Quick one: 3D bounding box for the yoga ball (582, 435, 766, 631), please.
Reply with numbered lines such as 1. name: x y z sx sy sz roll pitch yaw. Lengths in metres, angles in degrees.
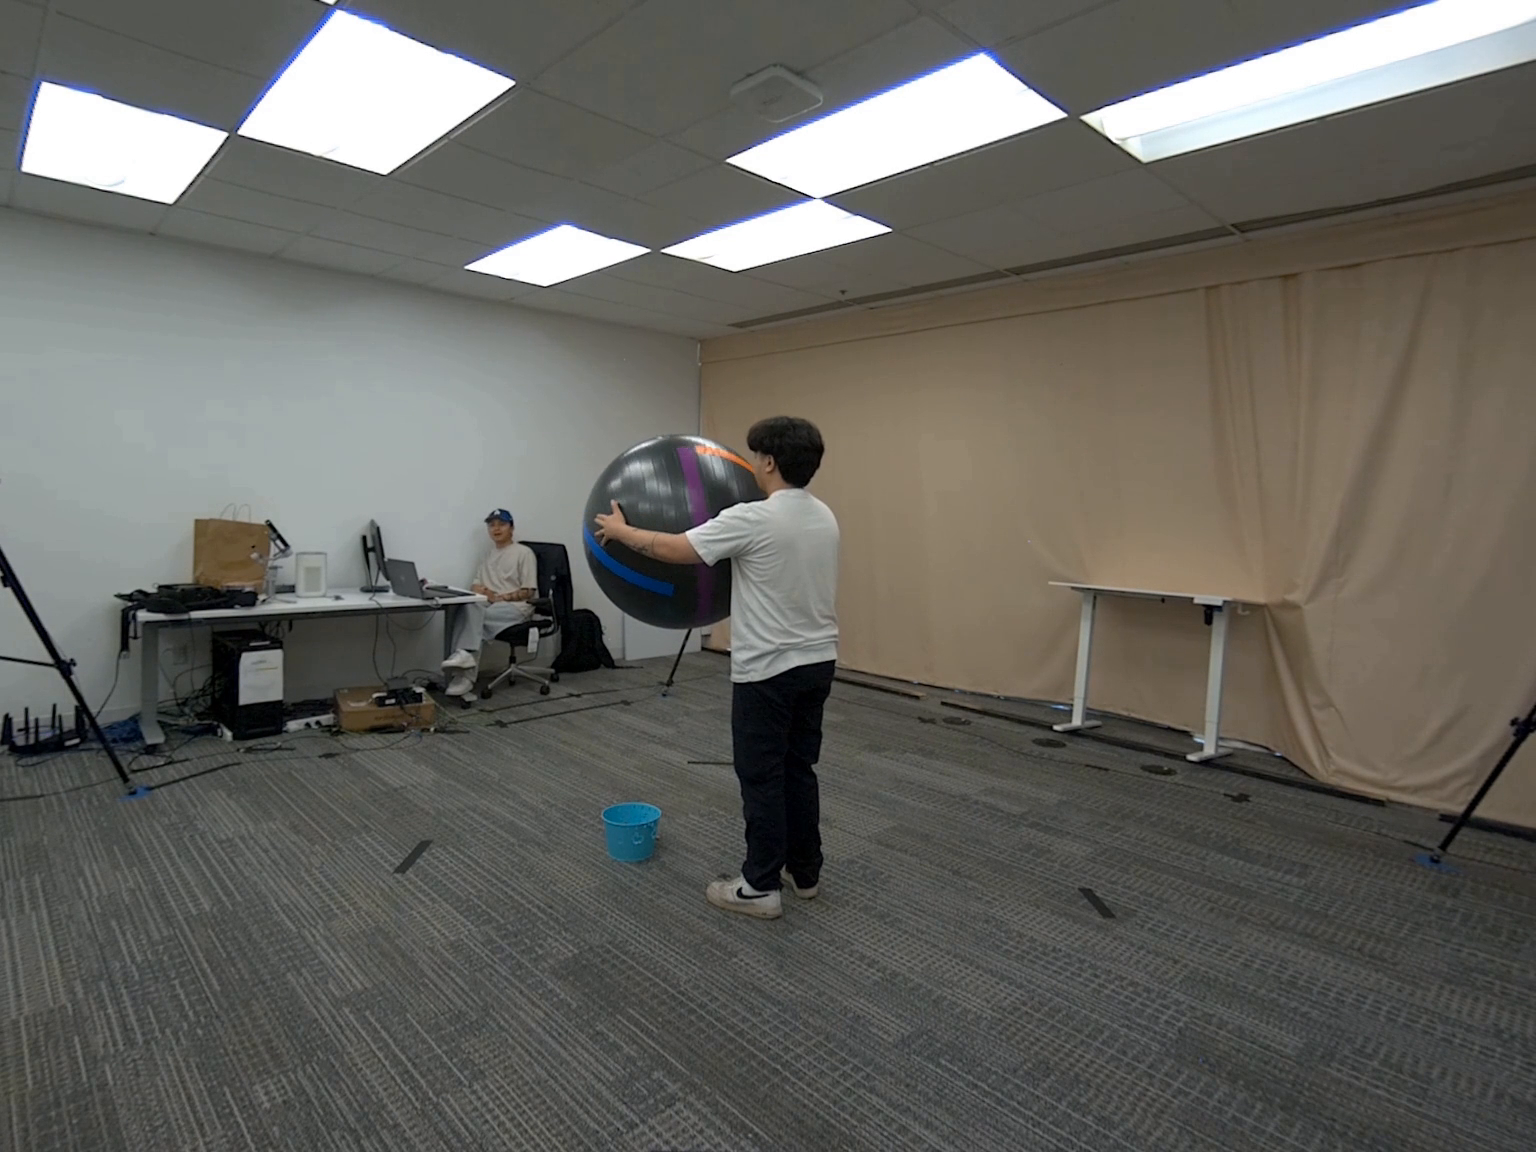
1. yoga ball: -0.361 -0.165 3.300 0.757 0.756 0.760 1 4 -1
